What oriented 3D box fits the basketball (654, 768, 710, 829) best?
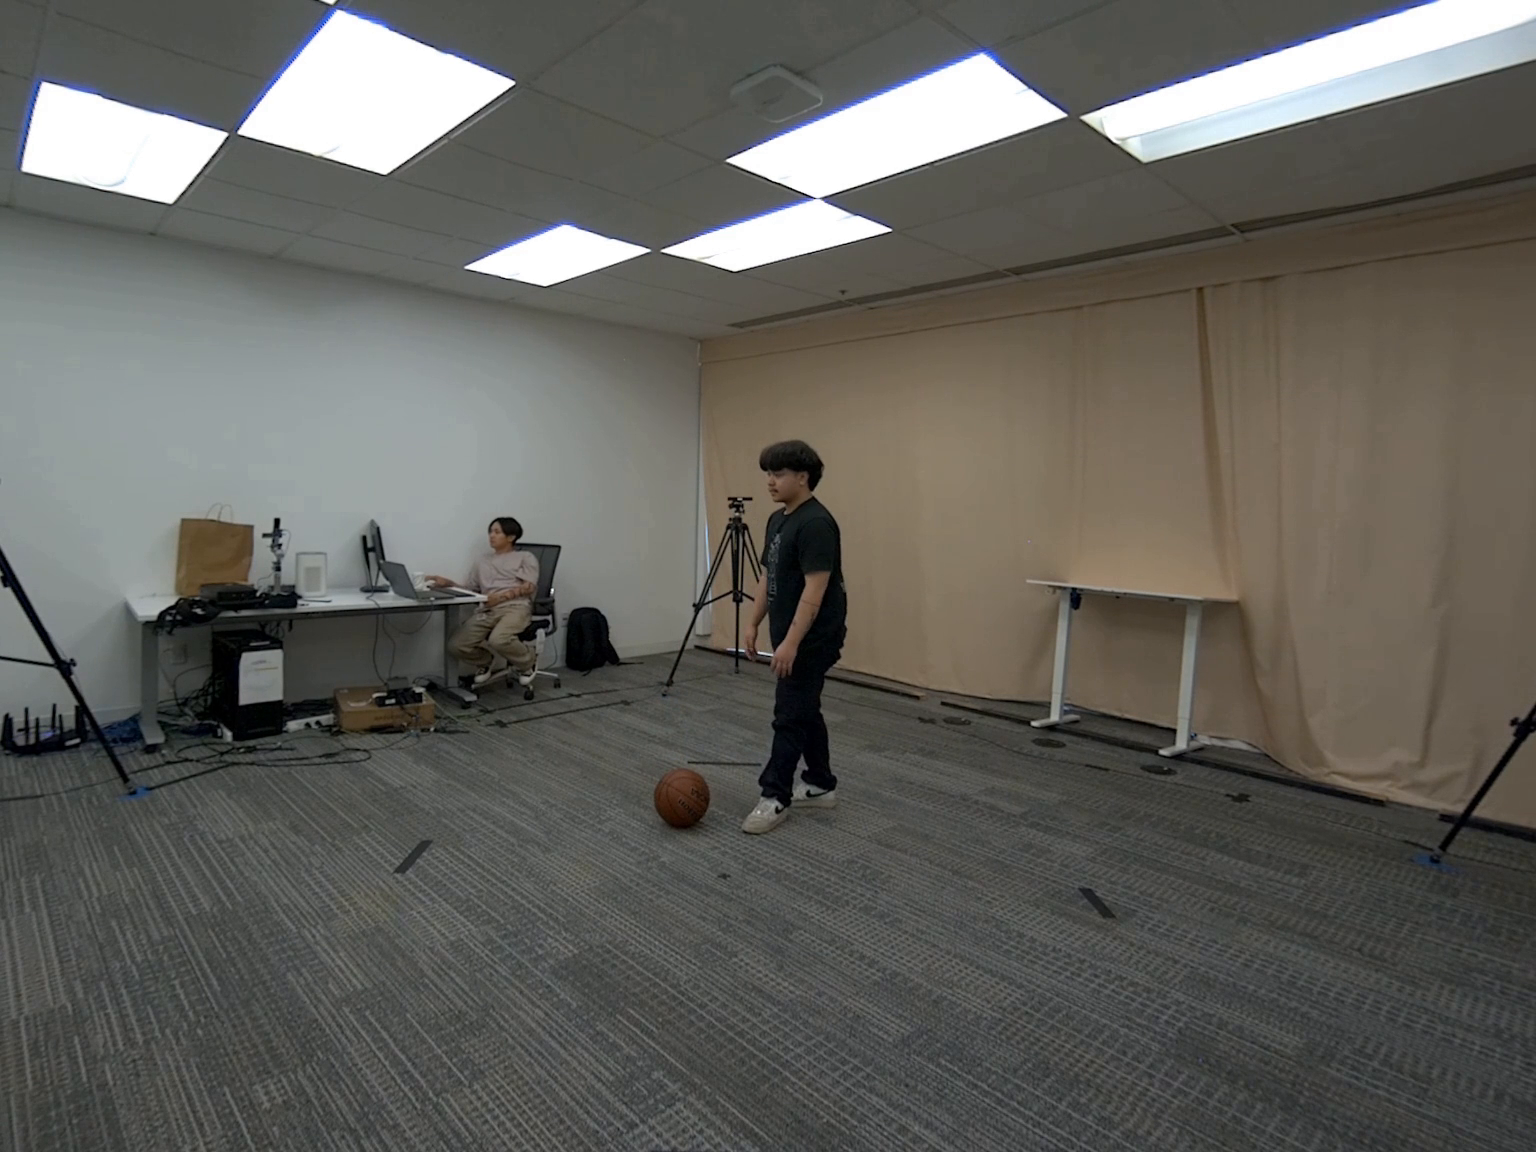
[{"bbox_3d":[-0.374,0.939,3.582,0.236,0.235,0.237,1,4,-1],"label":"basketball"}]
